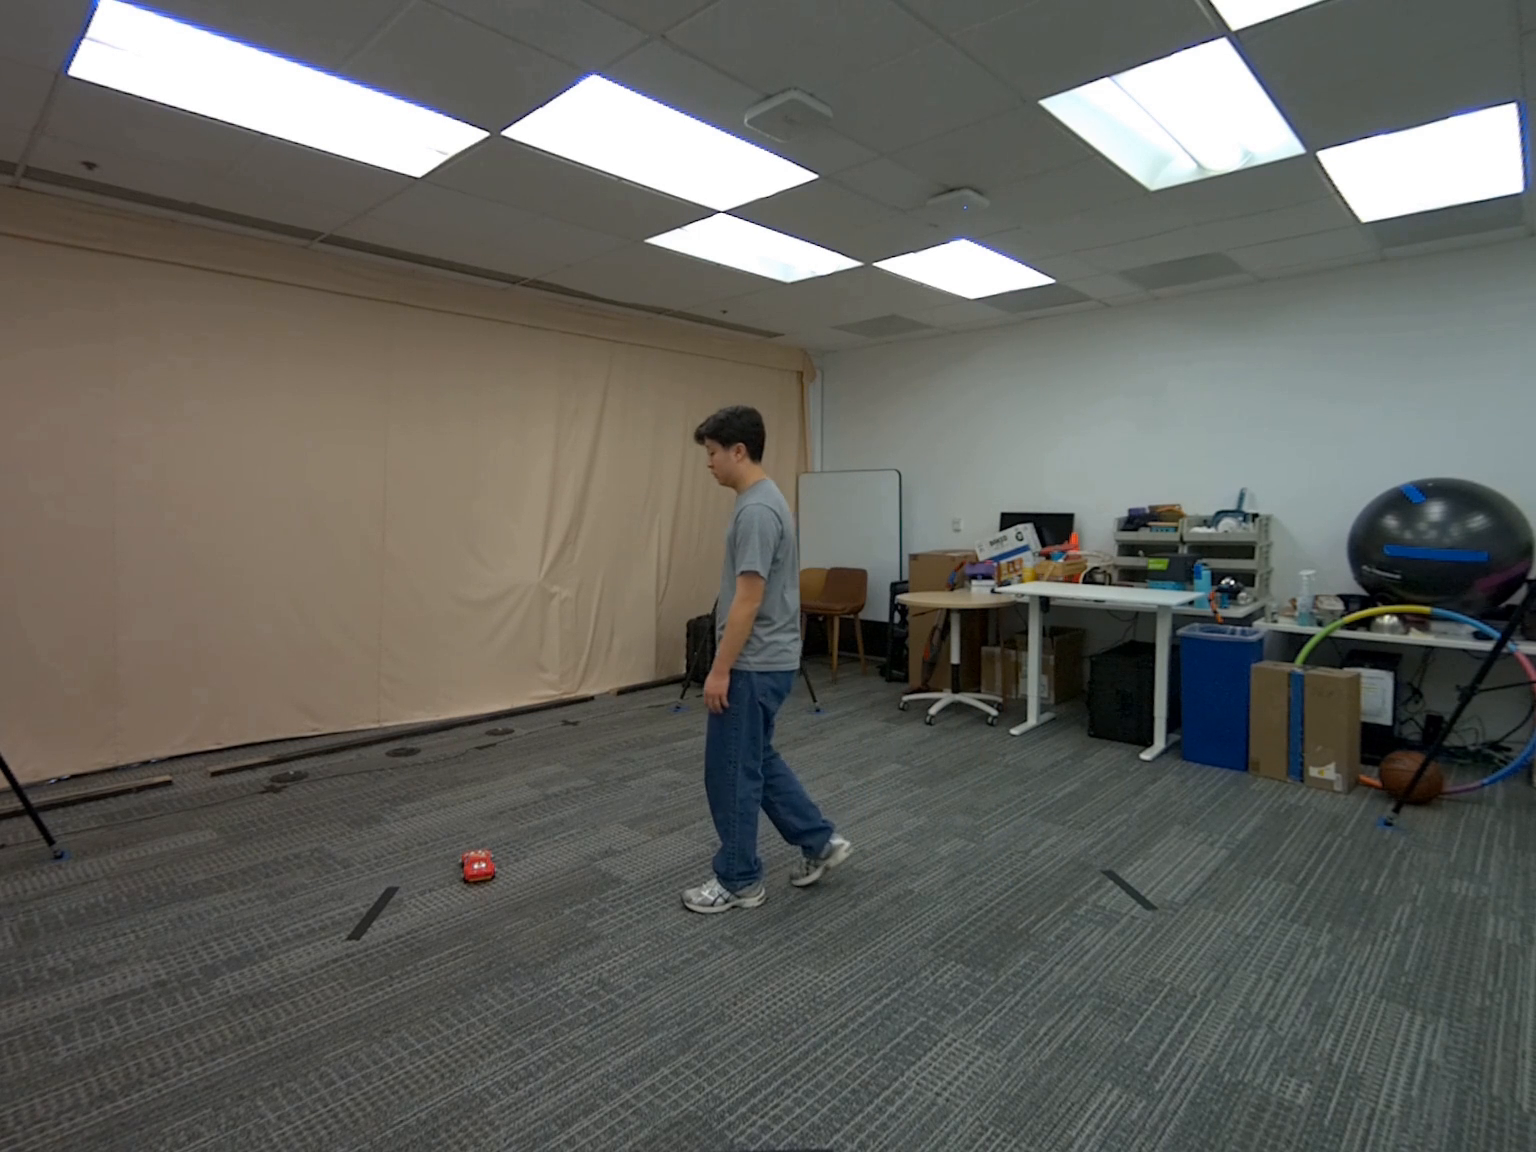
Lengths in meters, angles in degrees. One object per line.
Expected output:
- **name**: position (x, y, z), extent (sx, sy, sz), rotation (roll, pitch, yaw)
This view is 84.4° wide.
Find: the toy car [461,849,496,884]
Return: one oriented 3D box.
- **toy car**: position (-1.108, 1.110, 3.205), extent (0.127, 0.083, 0.259), rotation (-2, -7, -23)
